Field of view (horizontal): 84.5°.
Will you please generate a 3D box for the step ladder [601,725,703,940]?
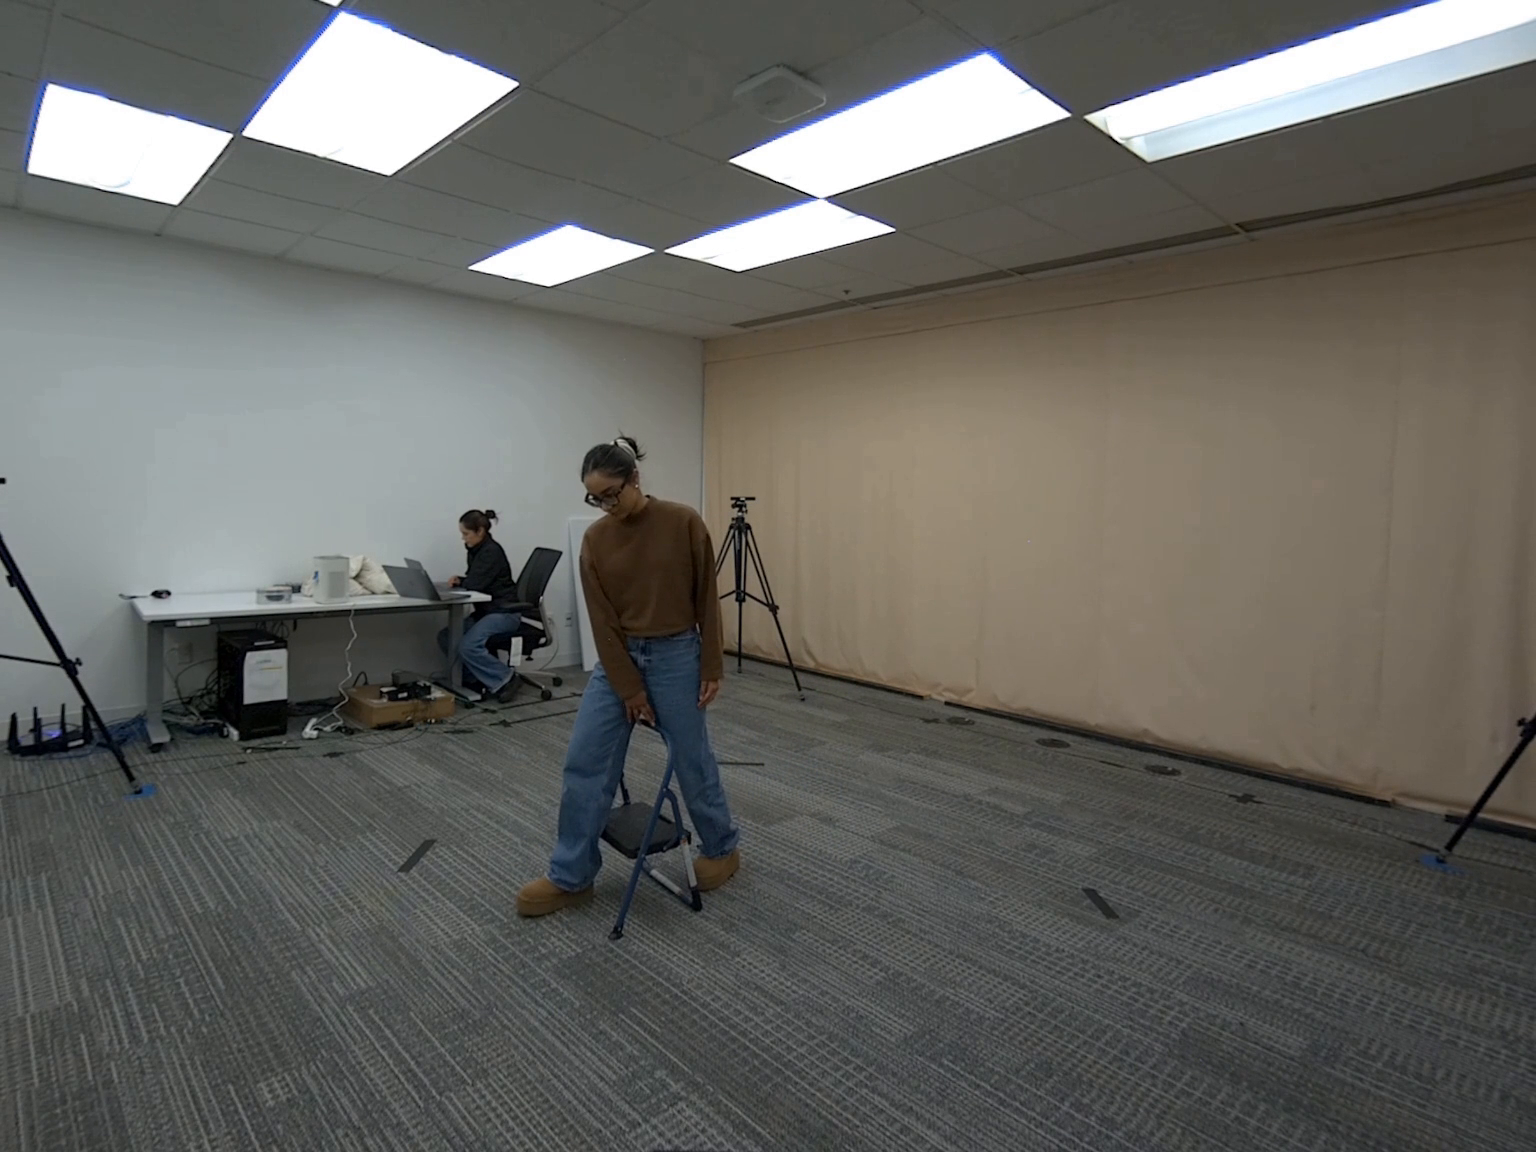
[{"bbox_3d":[-0.470,0.814,2.887,0.341,0.605,0.441,0,4,-37],"label":"step ladder"}]
